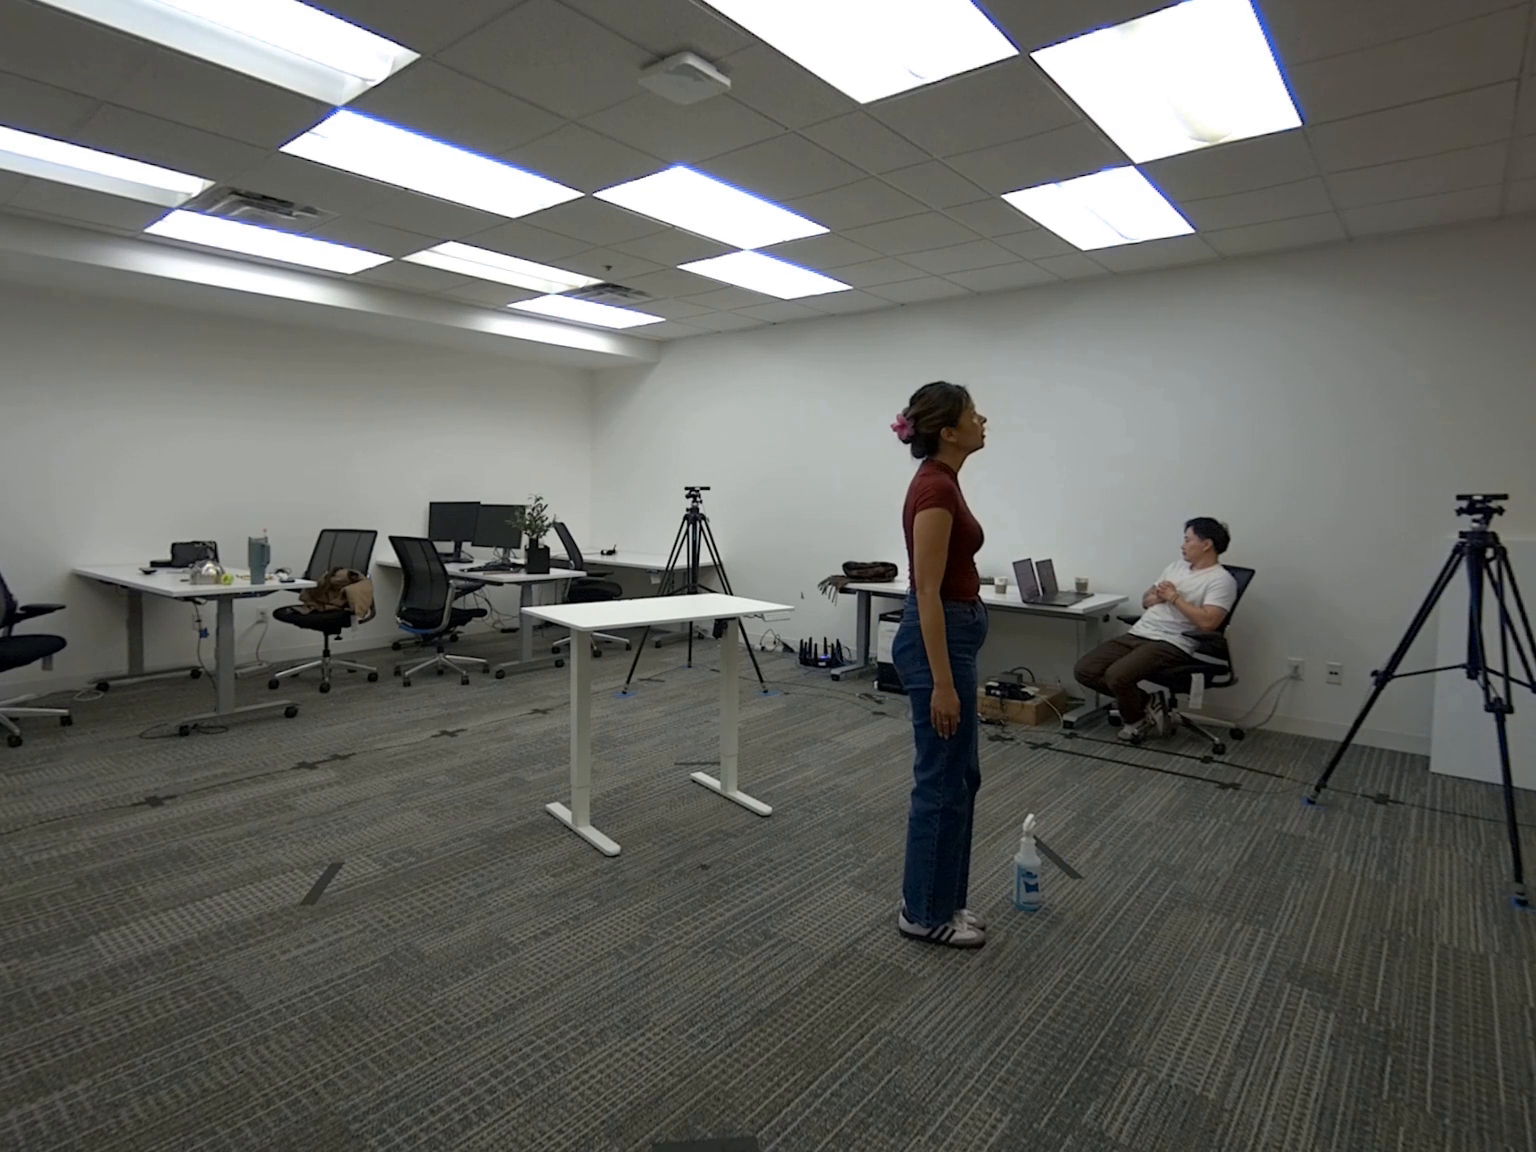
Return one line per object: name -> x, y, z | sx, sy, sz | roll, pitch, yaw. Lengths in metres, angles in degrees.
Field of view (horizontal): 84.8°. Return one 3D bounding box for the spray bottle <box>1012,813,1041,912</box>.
spray bottle -> 0.874, 0.965, 2.880 | 0.087, 0.297, 0.090 | 1, 3, -32
